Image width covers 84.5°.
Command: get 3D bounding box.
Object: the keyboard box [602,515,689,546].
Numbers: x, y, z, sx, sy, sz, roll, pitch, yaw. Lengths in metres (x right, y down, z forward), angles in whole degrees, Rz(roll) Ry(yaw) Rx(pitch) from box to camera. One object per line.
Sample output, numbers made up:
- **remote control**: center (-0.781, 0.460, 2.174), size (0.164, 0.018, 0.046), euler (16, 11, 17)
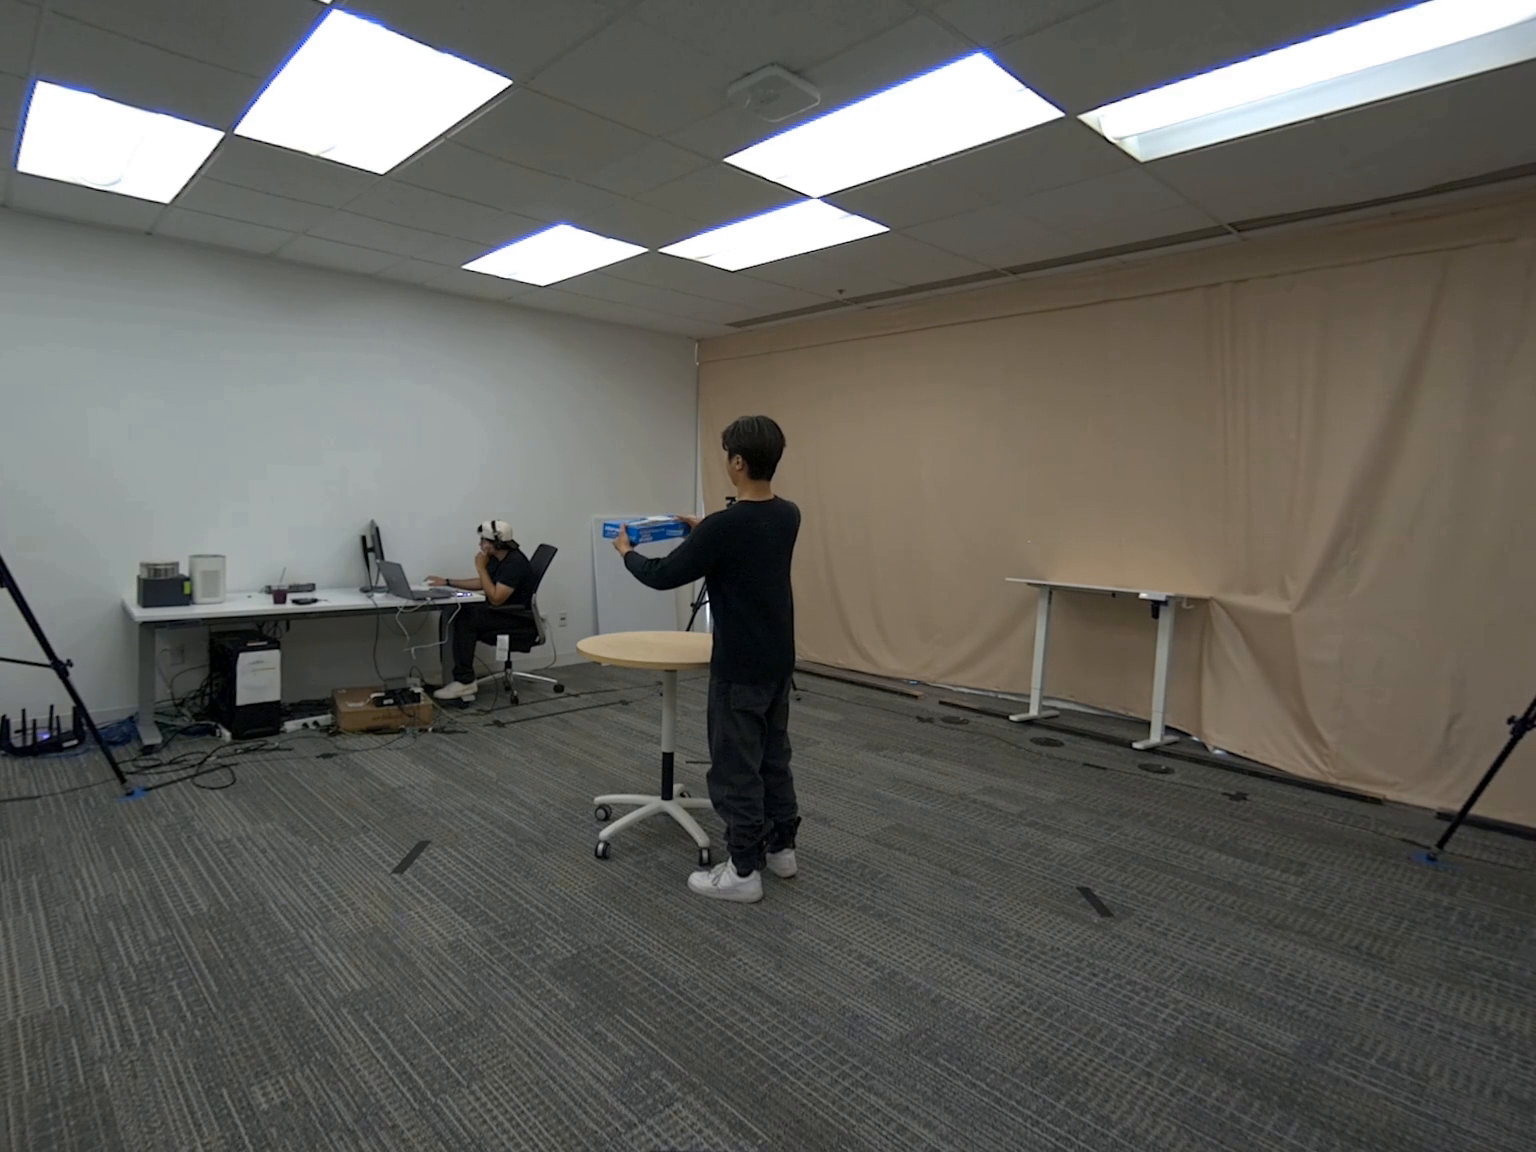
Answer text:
- **keyboard box**: center (-0.436, -0.190, 3.299), size (0.180, 0.059, 0.429), euler (11, 13, 33)
